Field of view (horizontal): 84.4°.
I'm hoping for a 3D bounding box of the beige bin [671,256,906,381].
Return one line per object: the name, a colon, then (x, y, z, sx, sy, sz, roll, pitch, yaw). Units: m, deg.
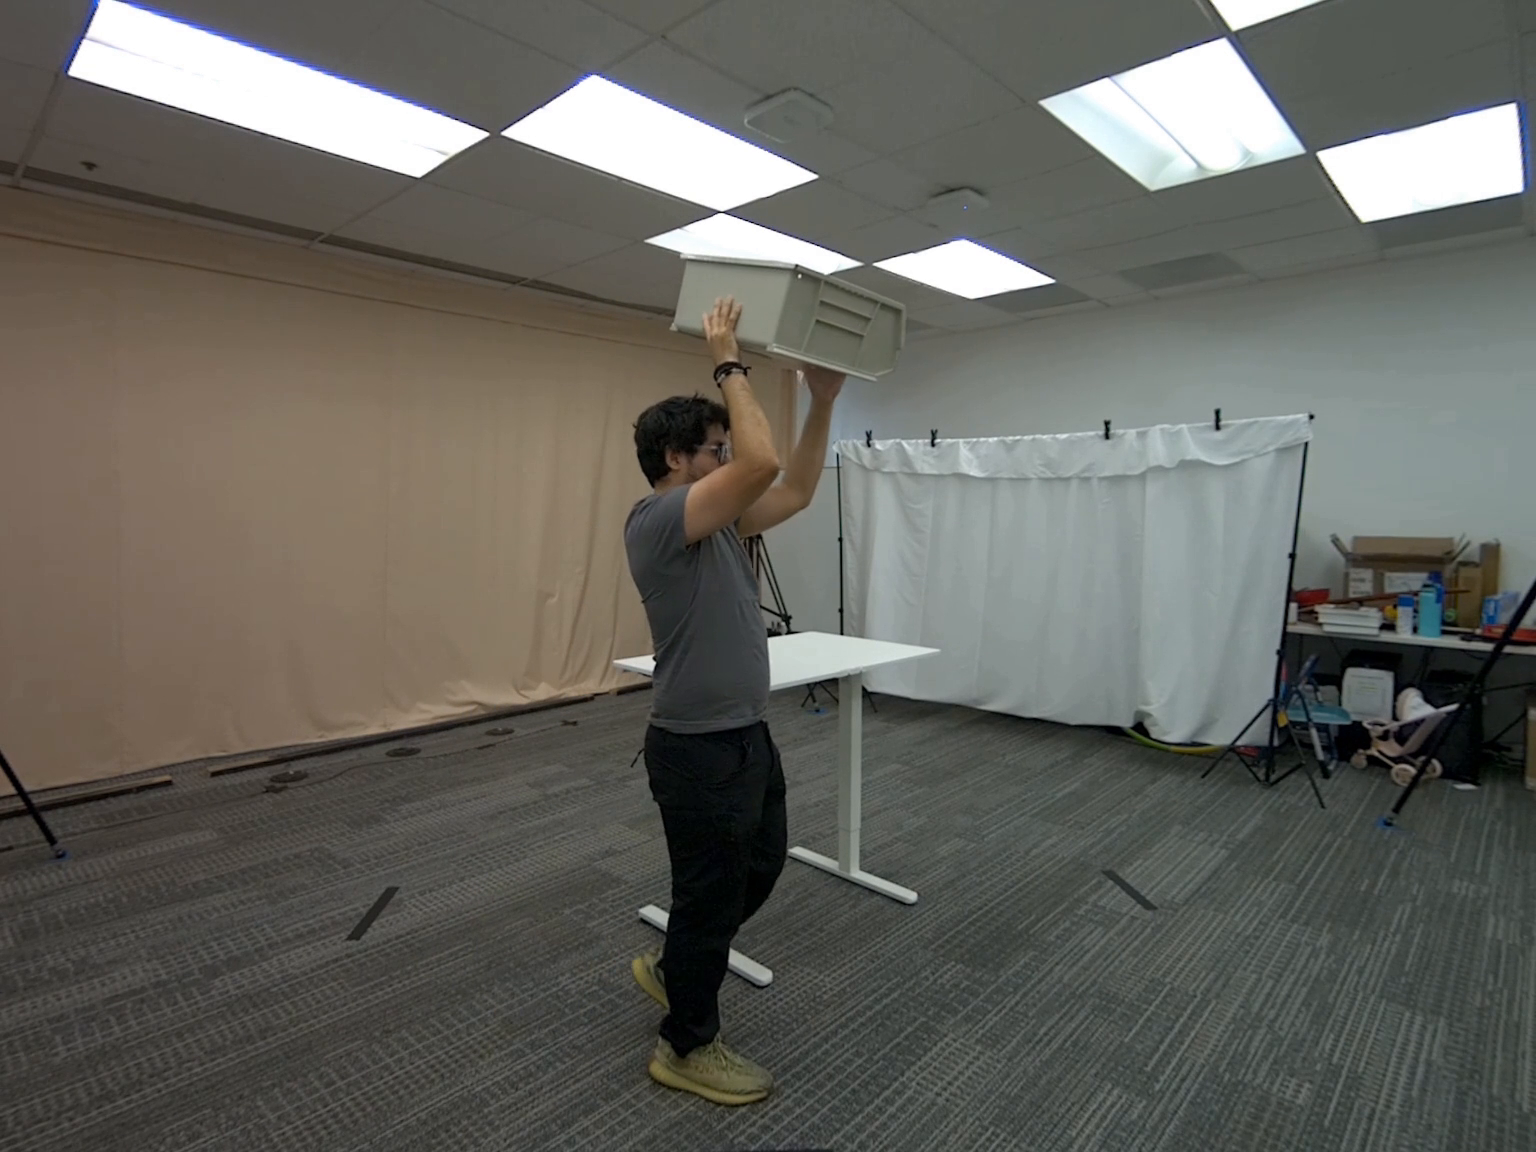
beige bin: (0.045, -0.602, 1.954, 0.365, 0.188, 0.438, 3, 17, -39)
